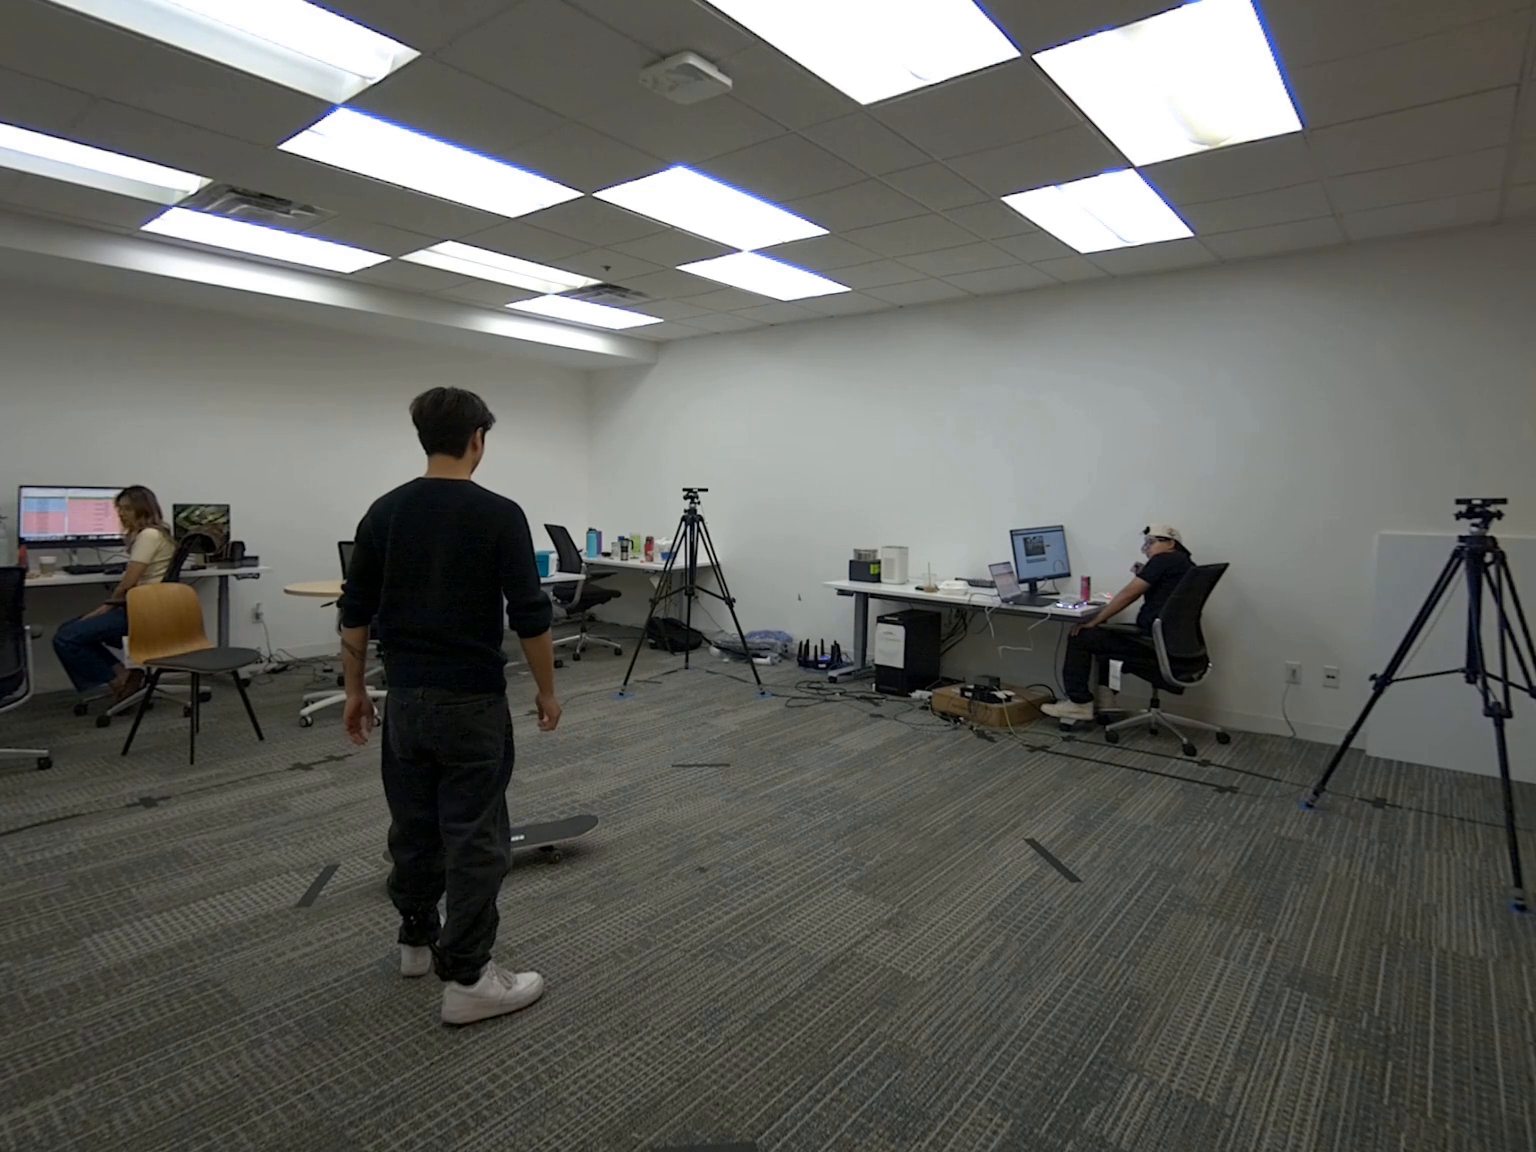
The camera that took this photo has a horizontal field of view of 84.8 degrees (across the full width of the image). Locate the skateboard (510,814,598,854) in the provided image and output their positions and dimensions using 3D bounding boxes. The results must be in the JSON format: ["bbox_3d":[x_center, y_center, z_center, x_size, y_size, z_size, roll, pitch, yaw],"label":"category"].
[{"bbox_3d":[-0.998,0.999,3.115,0.765,0.110,0.199,-3,6,-29],"label":"skateboard"}]
